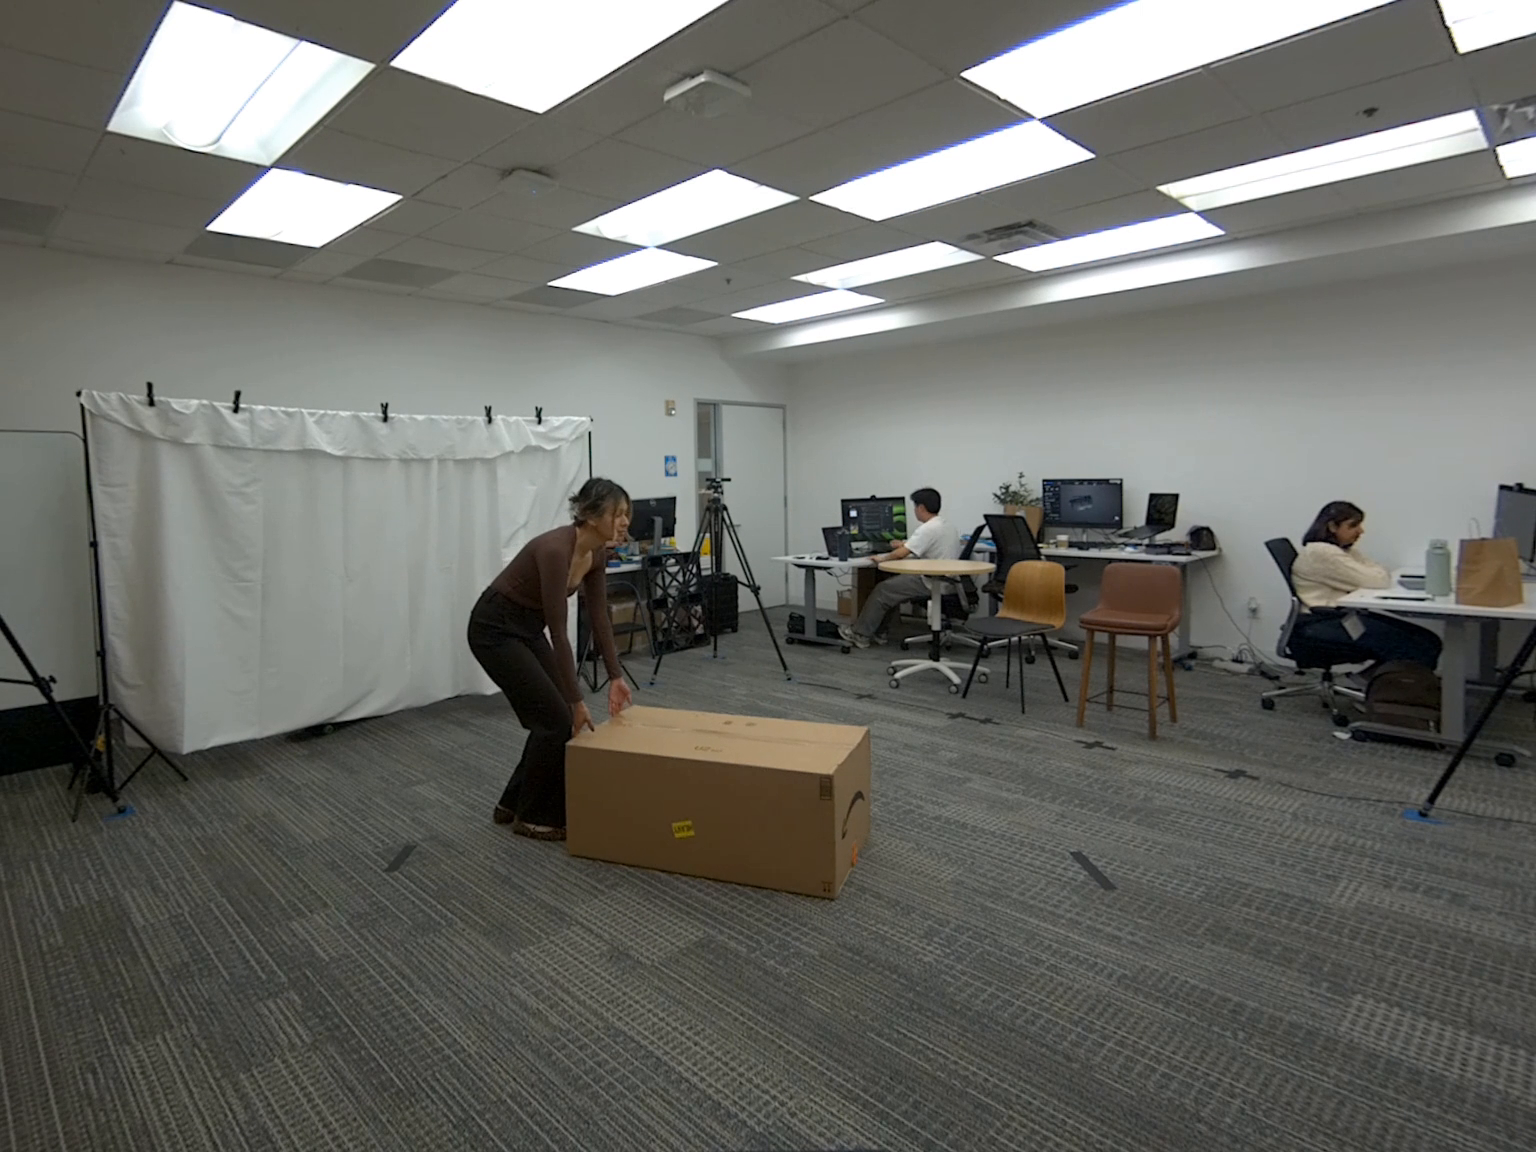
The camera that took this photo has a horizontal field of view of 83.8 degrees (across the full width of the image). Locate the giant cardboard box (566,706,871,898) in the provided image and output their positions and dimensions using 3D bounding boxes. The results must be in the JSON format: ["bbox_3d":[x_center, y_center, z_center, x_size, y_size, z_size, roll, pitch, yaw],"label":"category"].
[{"bbox_3d":[-0.175,0.816,3.251,1.047,0.445,0.575,1,6,21],"label":"giant cardboard box"}]
